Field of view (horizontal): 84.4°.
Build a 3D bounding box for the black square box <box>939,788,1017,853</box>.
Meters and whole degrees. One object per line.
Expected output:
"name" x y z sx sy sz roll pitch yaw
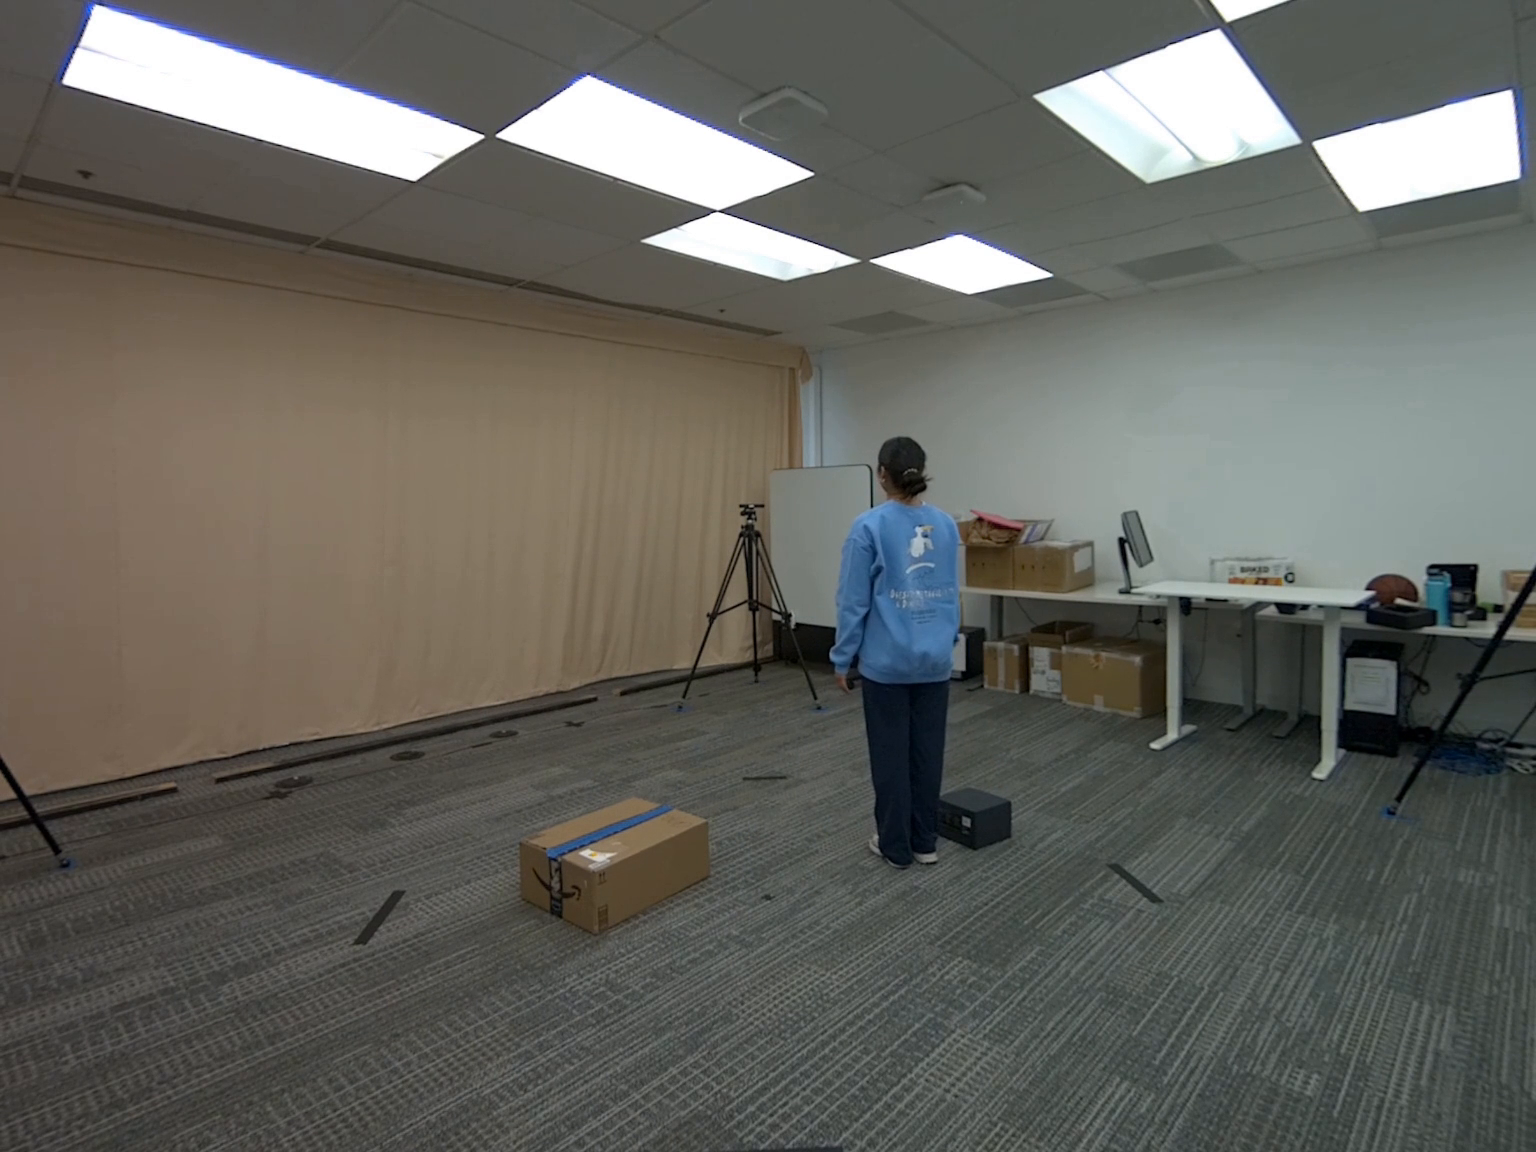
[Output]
"black square box" 0.857 1.001 3.493 0.221 0.155 0.224 -4 4 -36
